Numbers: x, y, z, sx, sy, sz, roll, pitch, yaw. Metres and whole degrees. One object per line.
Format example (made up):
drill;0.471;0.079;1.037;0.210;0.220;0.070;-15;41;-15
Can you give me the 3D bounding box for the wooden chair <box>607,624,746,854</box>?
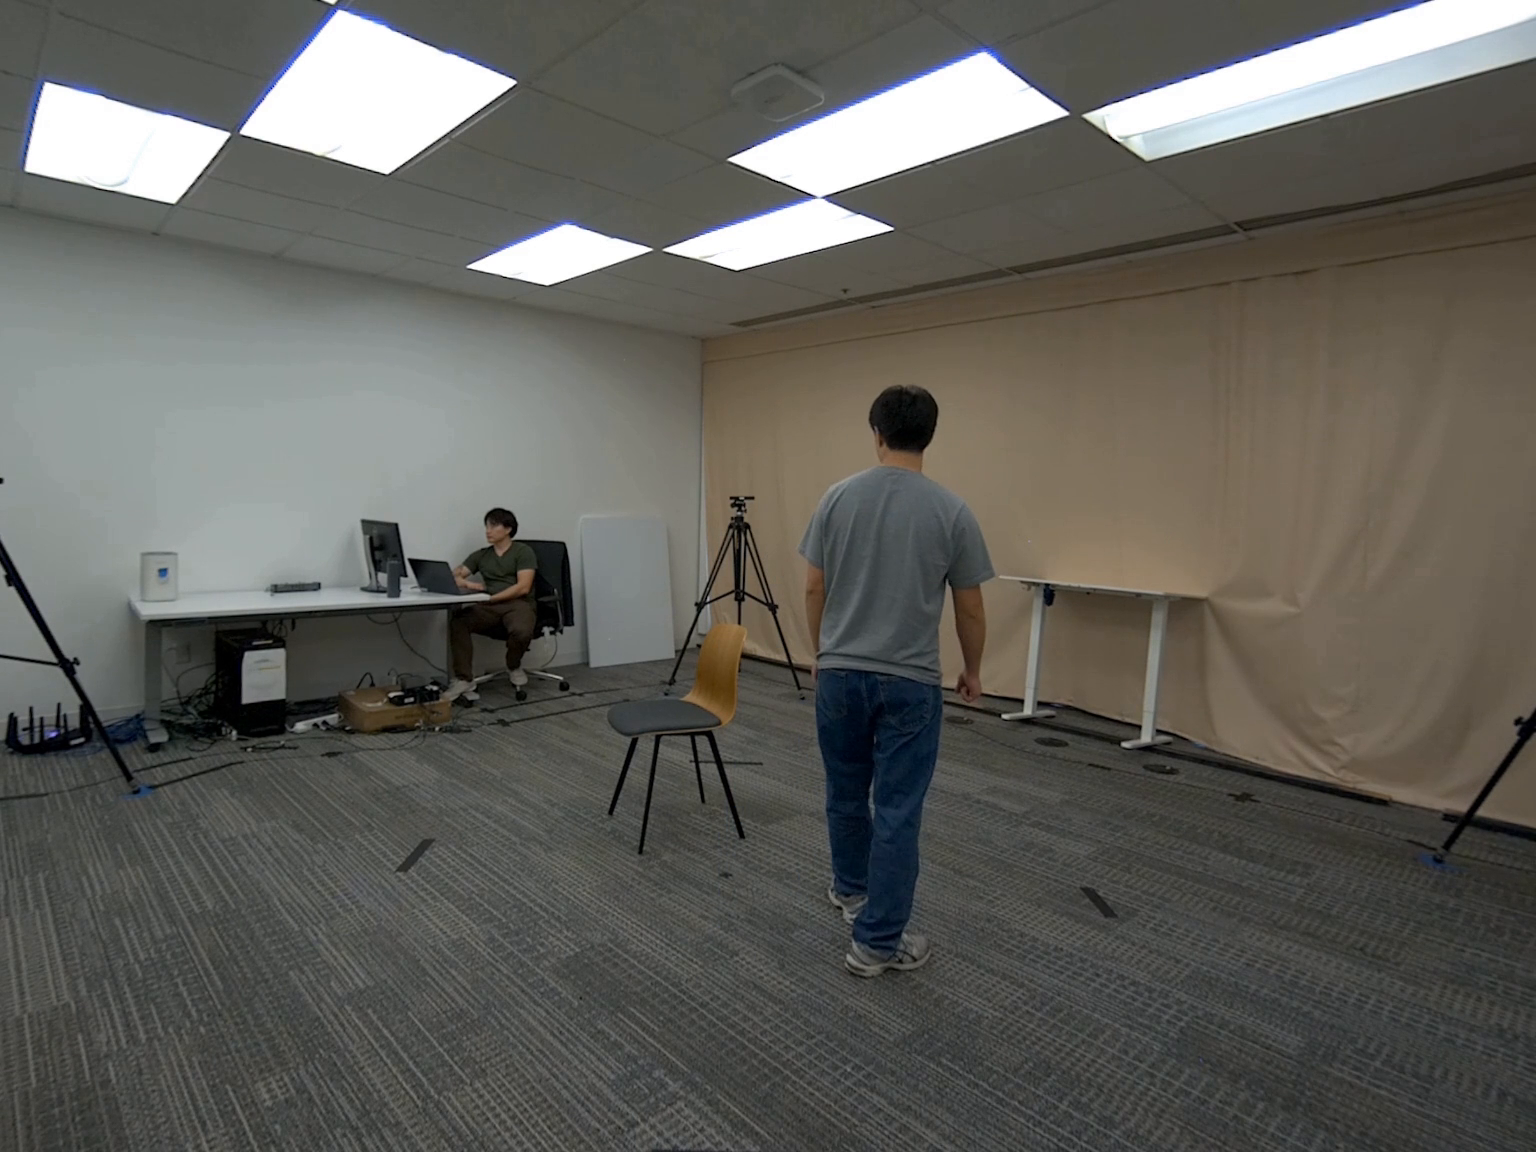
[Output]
wooden chair;-0.396;0.633;3.522;0.513;0.876;0.488;5;2;-25
